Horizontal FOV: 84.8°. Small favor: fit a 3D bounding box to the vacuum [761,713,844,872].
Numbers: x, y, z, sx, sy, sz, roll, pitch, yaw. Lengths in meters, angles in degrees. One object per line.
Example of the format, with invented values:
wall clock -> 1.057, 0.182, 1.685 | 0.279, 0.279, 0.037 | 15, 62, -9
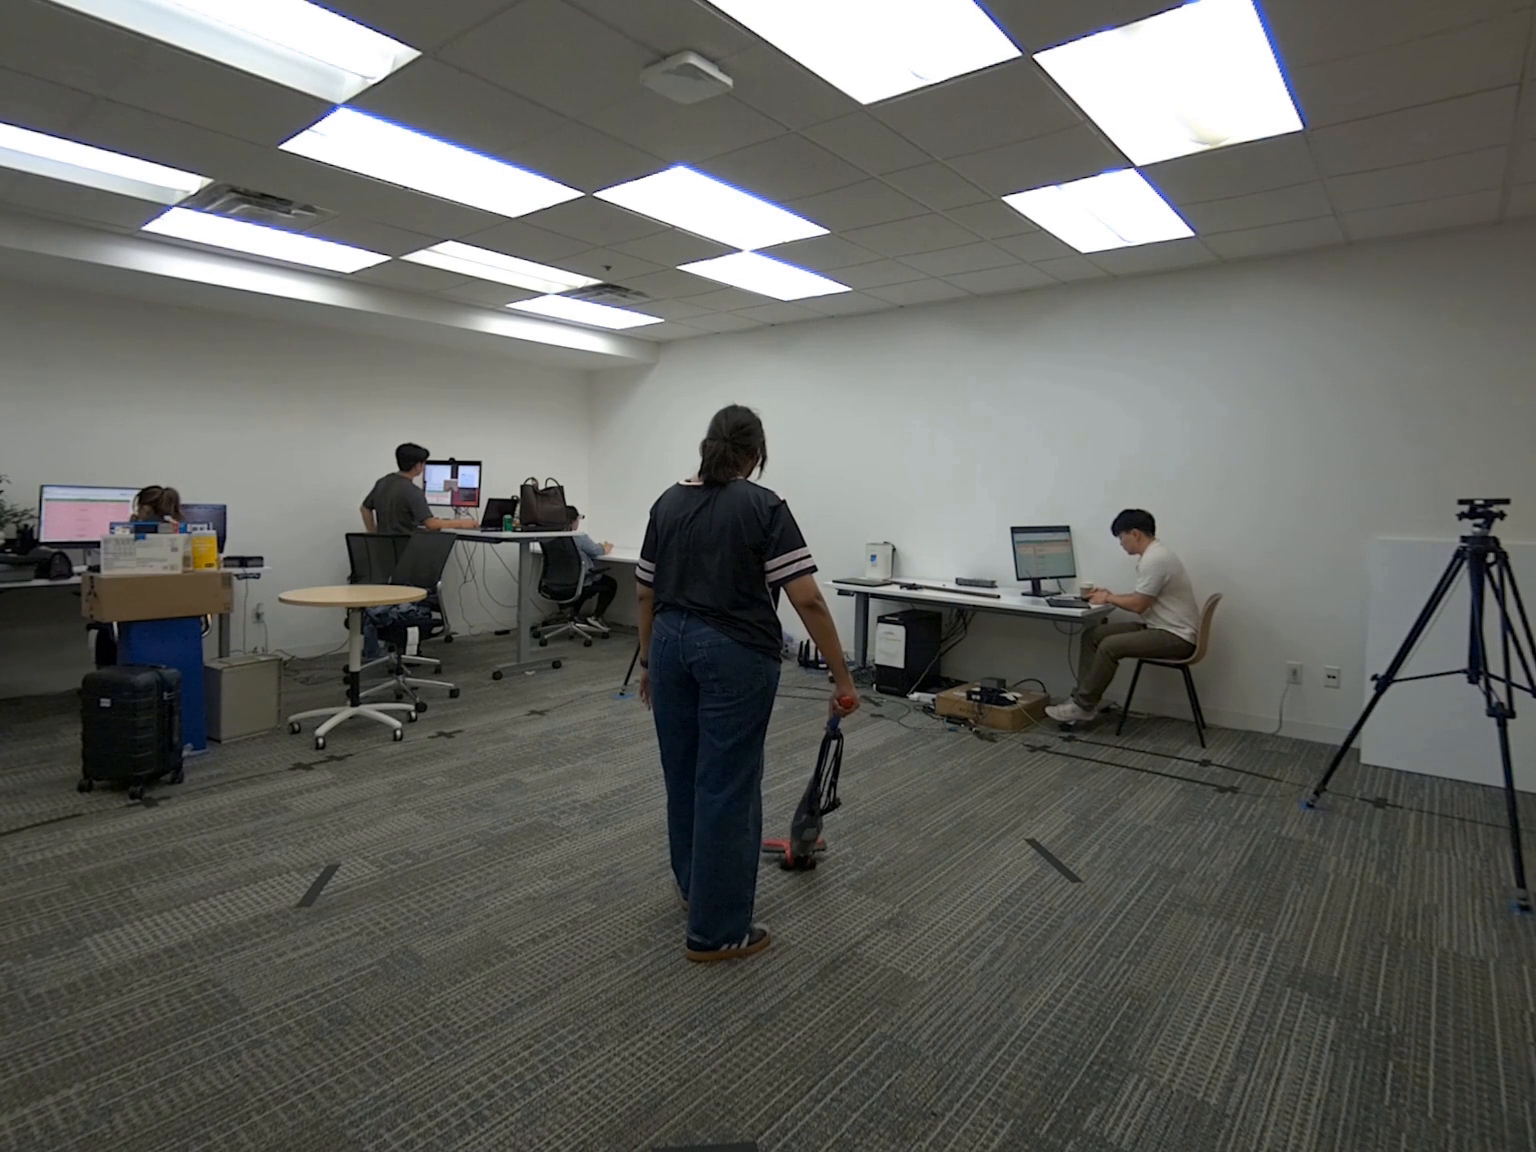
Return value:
vacuum -> 0.159, 0.711, 2.819 | 0.251, 0.148, 1.025 | 2, -41, -8
